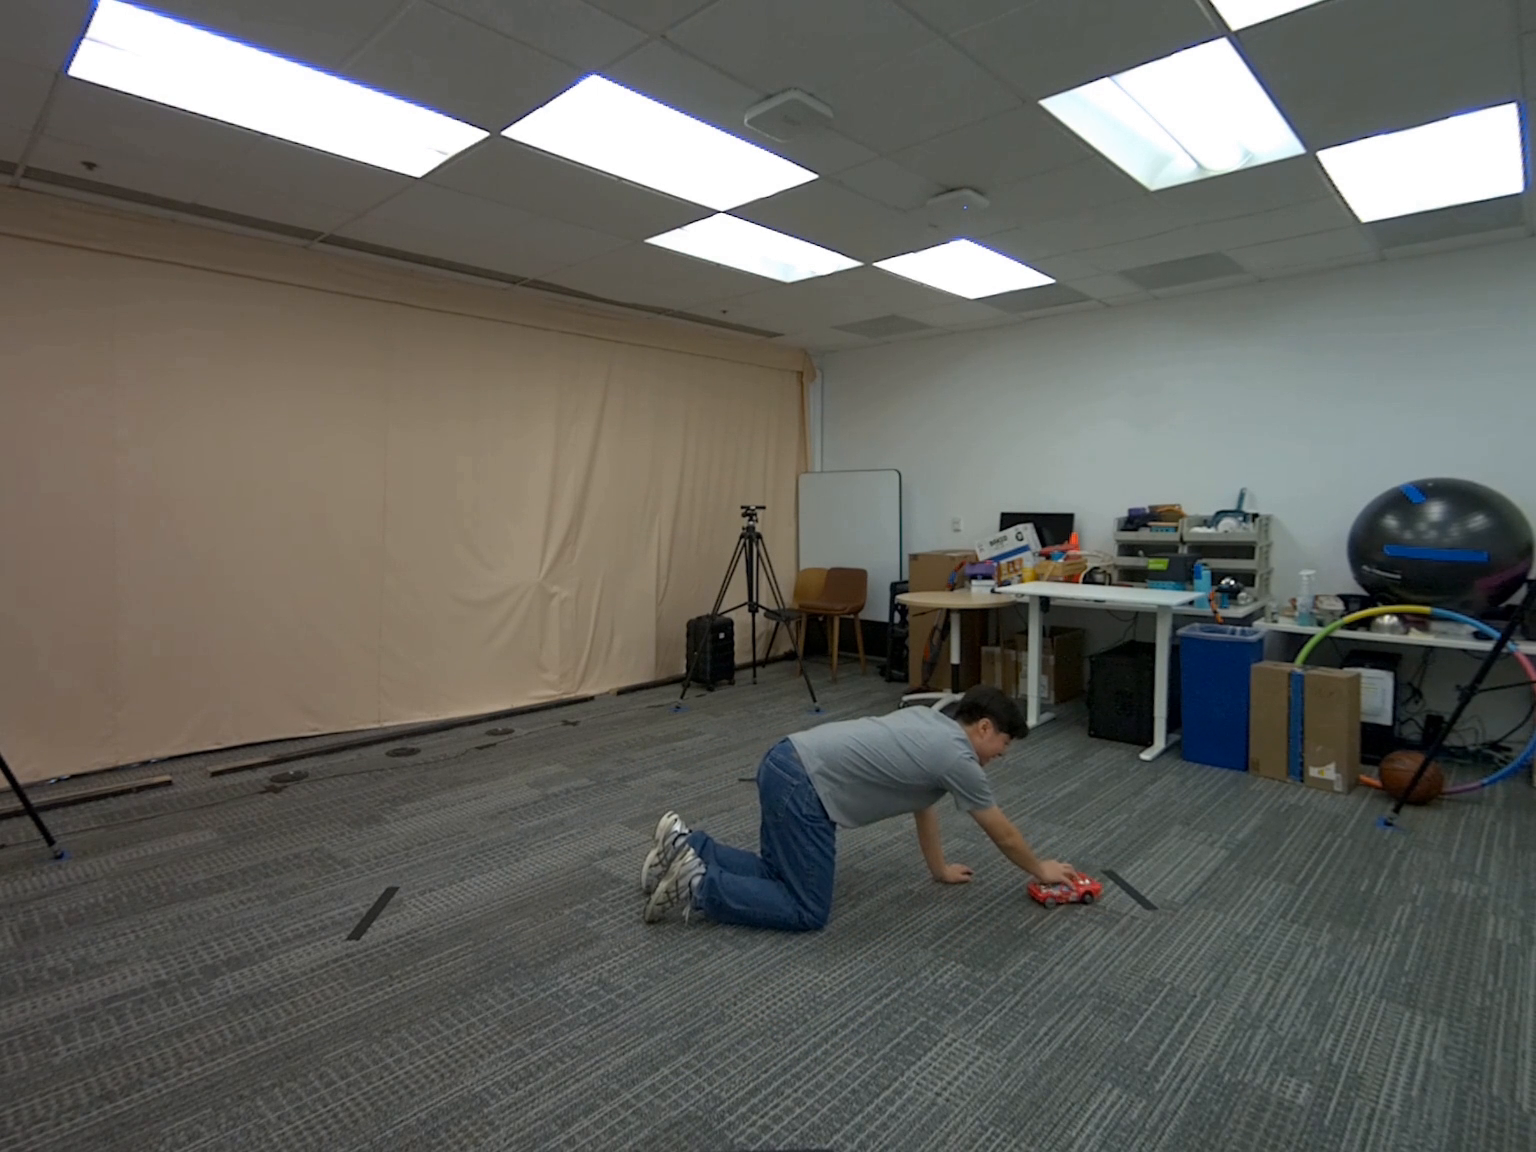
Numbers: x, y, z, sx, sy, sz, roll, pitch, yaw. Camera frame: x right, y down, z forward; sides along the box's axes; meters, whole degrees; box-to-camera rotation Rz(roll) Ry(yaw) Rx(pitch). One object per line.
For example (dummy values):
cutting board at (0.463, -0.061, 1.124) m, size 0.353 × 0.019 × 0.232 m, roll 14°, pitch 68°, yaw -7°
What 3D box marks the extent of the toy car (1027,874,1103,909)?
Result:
toy car at (1.064, 1.114, 2.959) m, size 0.252 × 0.082 × 0.132 m, roll -13°, pitch 10°, yaw -11°
